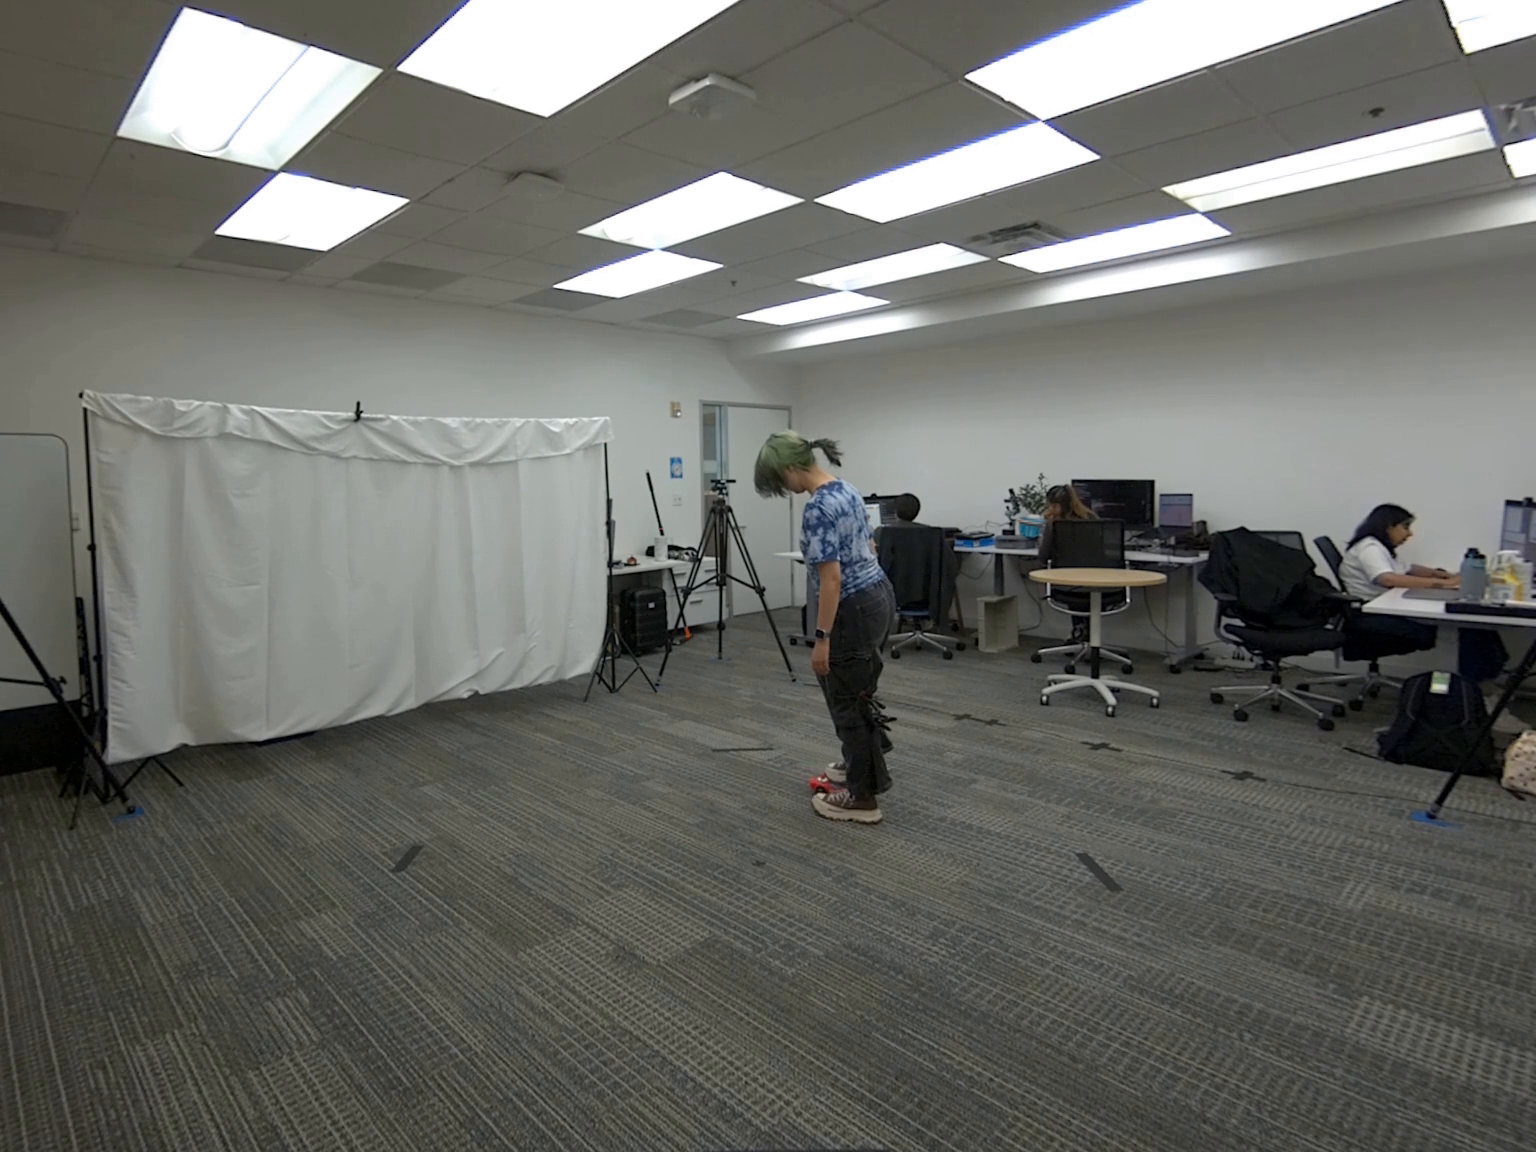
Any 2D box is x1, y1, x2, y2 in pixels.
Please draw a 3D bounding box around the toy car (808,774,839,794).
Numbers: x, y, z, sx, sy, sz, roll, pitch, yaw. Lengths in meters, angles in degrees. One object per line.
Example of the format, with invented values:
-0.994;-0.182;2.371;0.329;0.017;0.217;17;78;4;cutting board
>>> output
0.302;0.937;3.771;0.263;0.083;0.127;17;11;30;toy car
